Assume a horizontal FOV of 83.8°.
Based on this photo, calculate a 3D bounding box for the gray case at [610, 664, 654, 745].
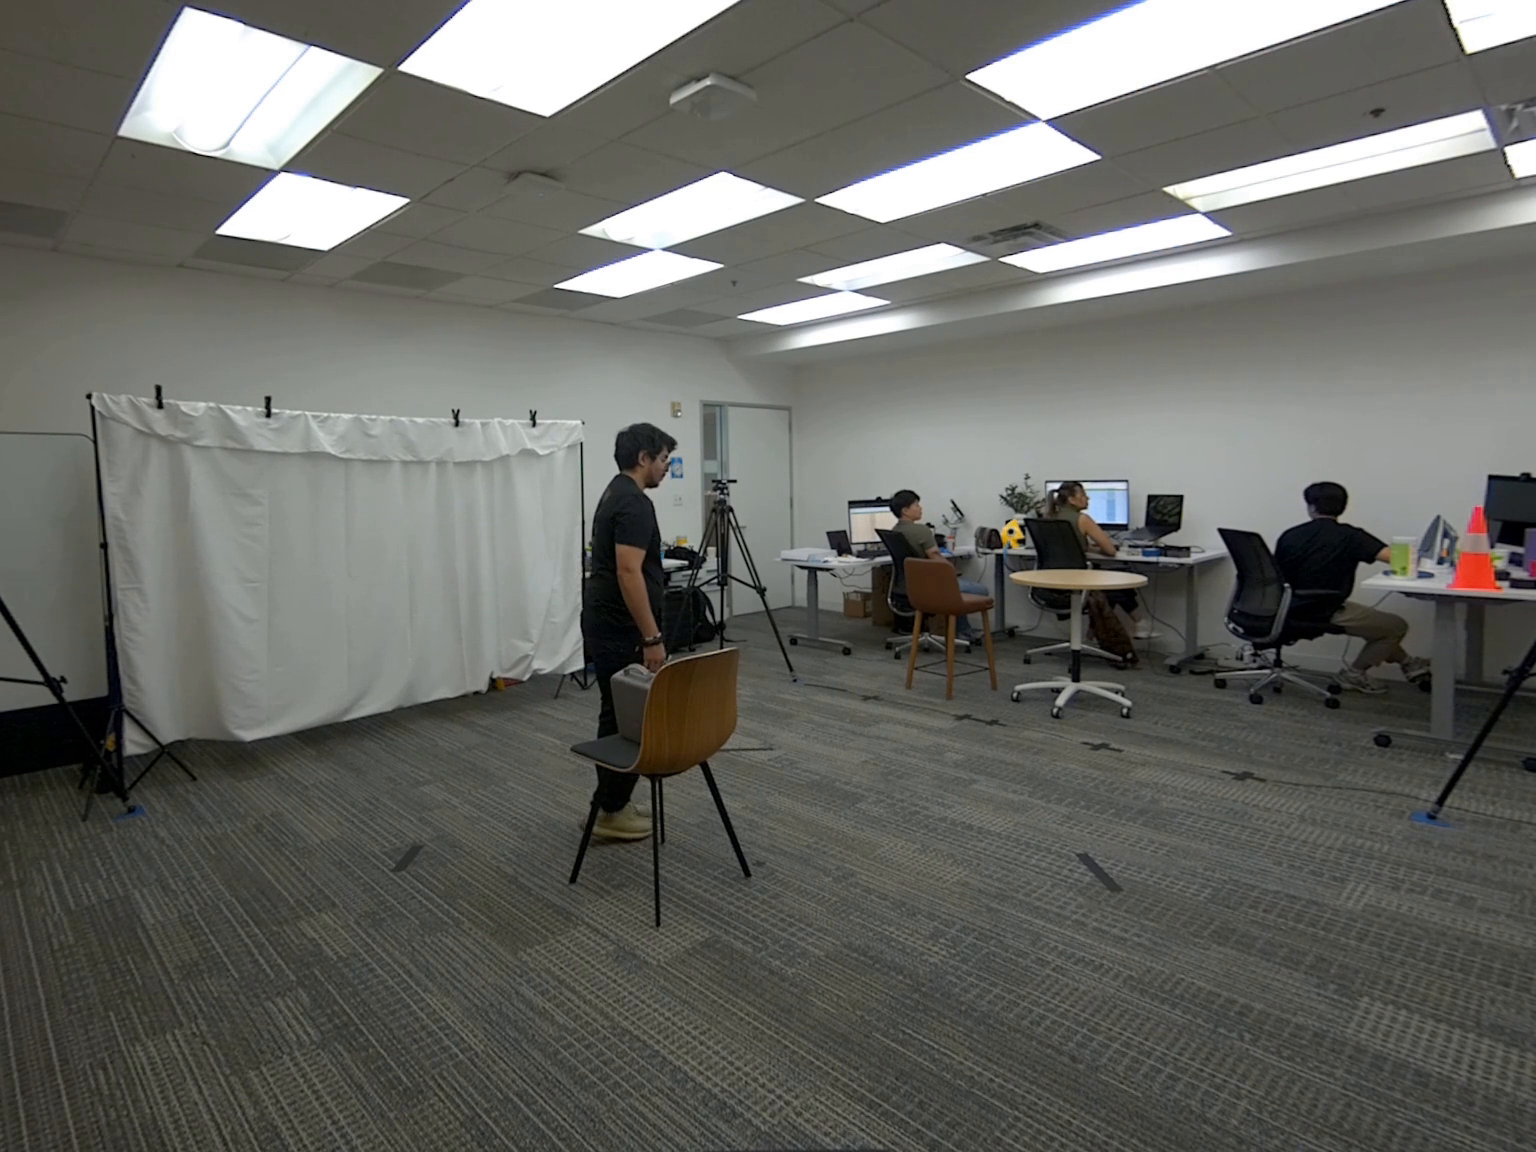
[{"bbox_3d":[-0.426,0.464,3.001,0.265,0.256,0.102,9,22,39],"label":"gray case"}]
